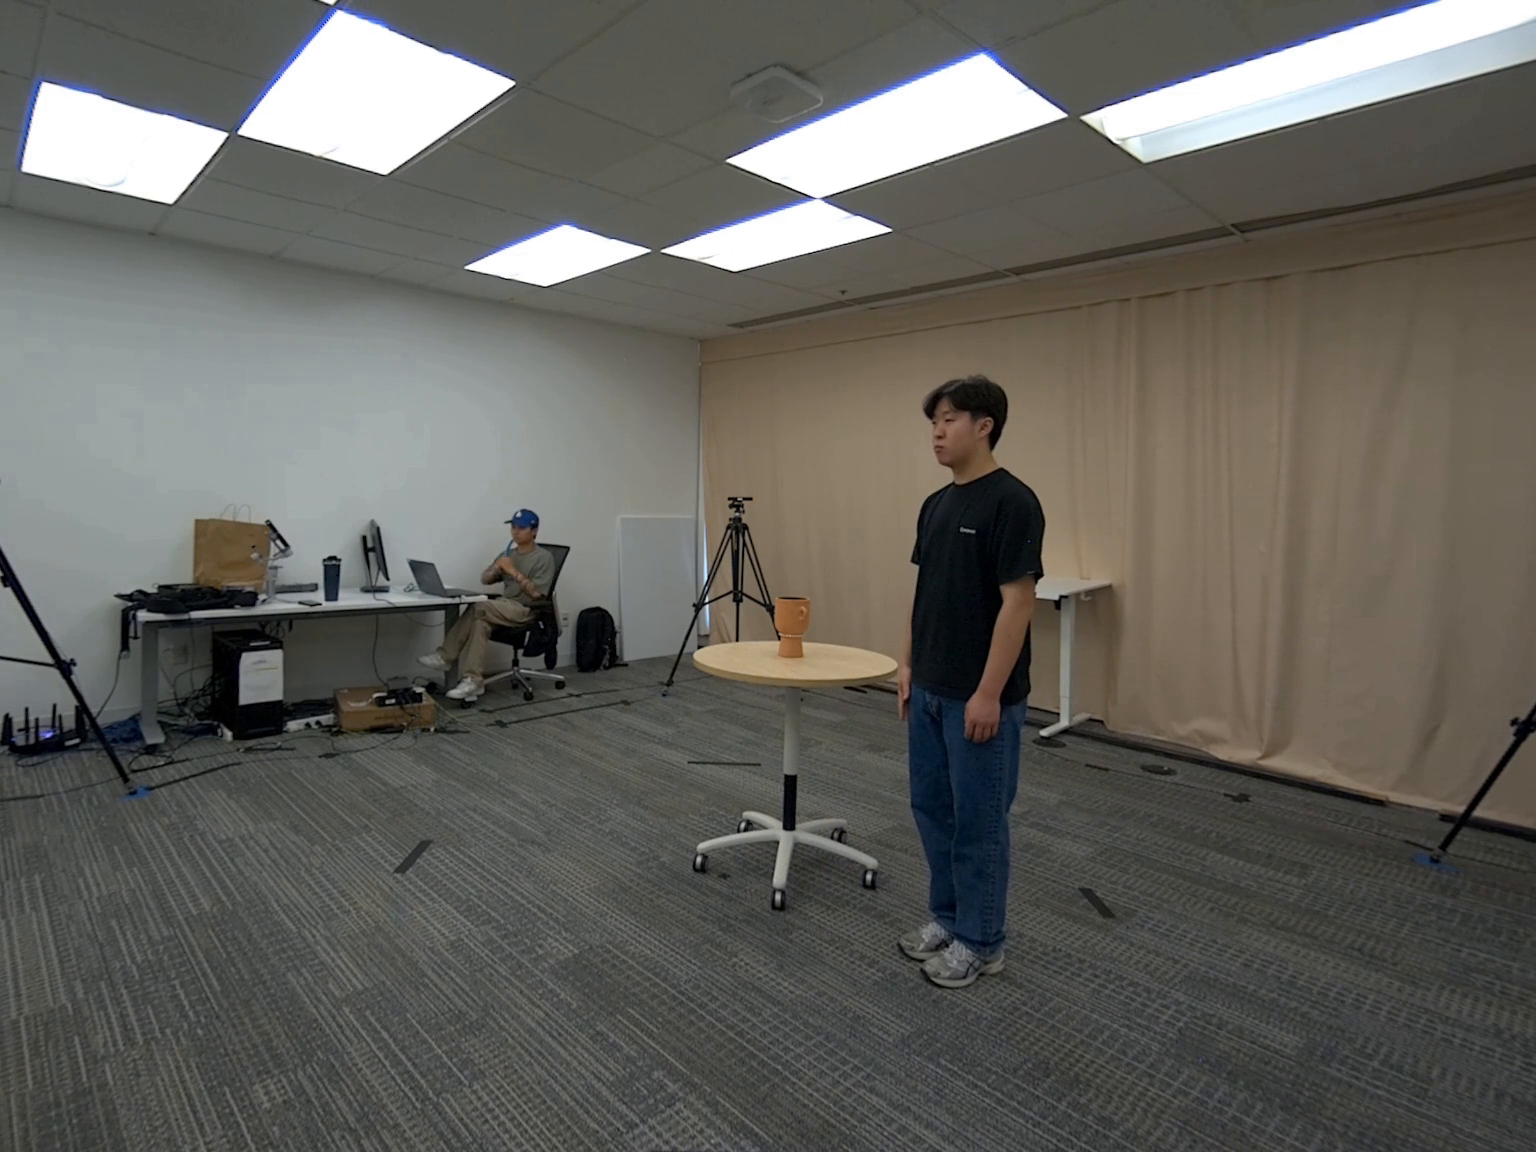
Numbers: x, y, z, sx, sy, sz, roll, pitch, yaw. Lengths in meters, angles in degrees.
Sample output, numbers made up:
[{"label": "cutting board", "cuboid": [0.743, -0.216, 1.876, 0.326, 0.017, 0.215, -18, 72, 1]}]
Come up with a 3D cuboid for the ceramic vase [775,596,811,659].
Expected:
[{"label": "ceramic vase", "cuboid": [0.081, 0.198, 3.220, 0.136, 0.219, 0.157, 2, 3, 11]}]
